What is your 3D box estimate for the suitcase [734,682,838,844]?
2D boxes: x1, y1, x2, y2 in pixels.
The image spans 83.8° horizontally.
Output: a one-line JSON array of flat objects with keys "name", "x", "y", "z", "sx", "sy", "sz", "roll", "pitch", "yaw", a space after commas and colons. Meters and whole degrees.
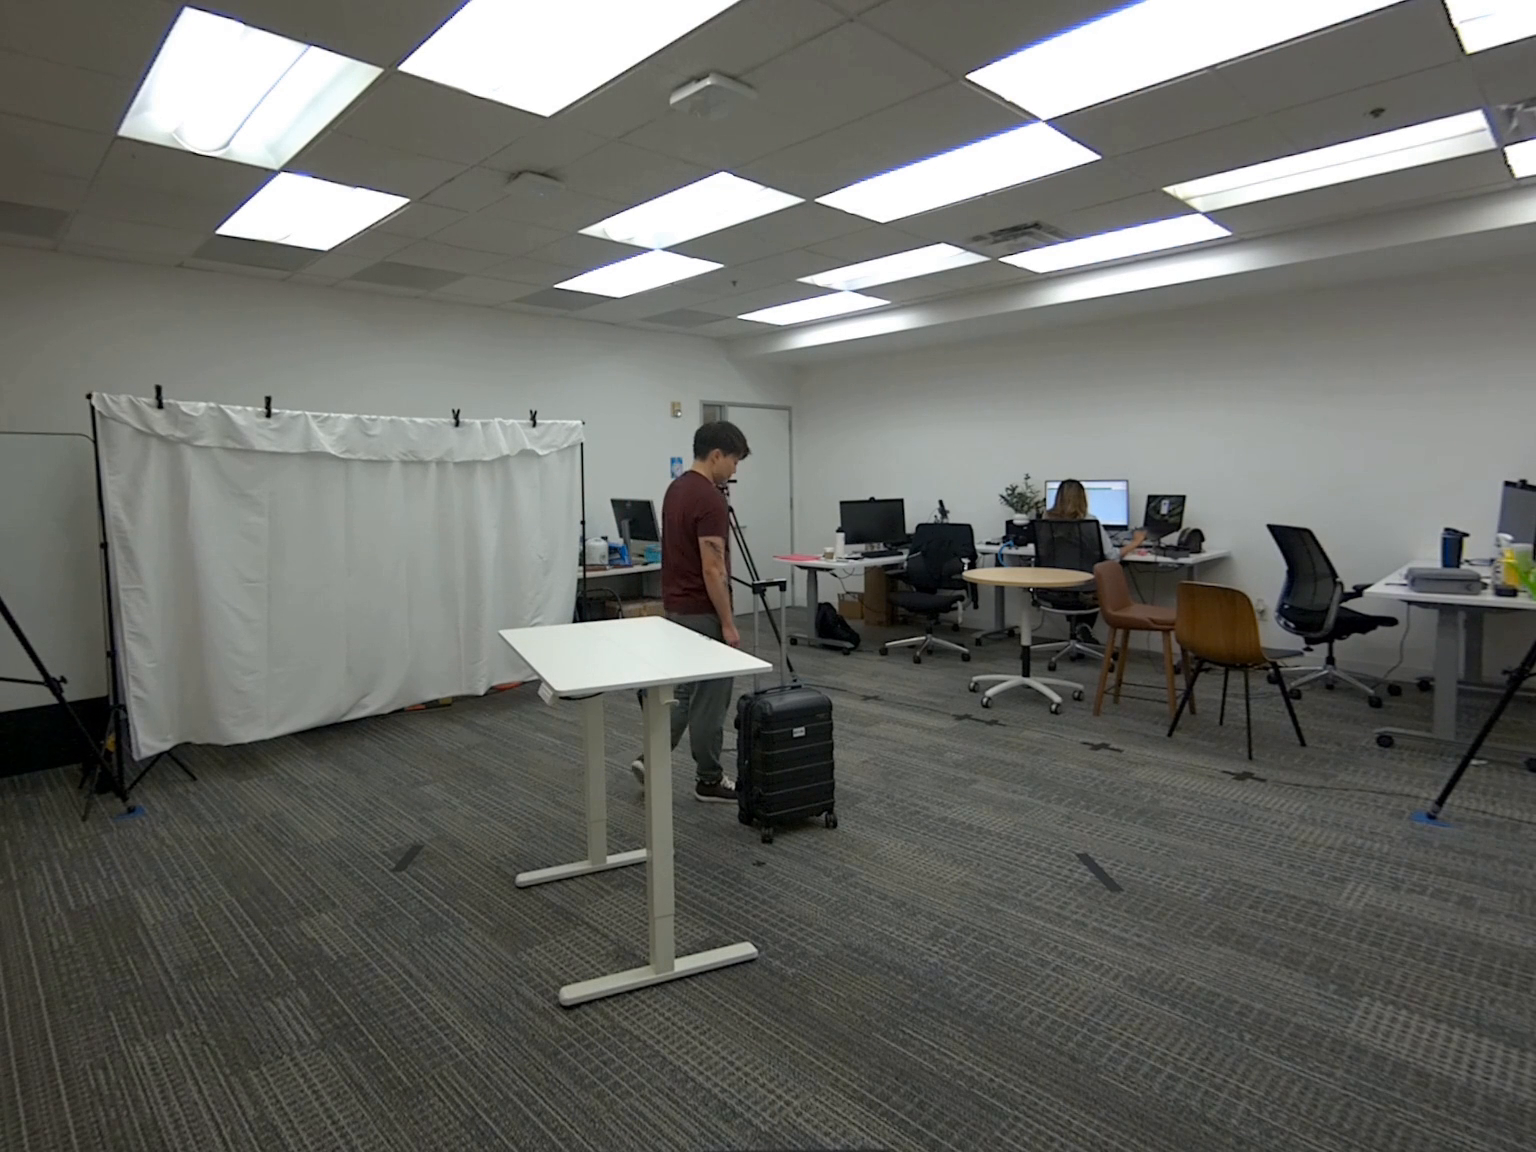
[{"name": "suitcase", "x": 0.073, "y": 0.529, "z": 3.446, "sx": 0.376, "sy": 0.975, "sz": 0.263, "roll": -2, "pitch": 4, "yaw": -25}]
